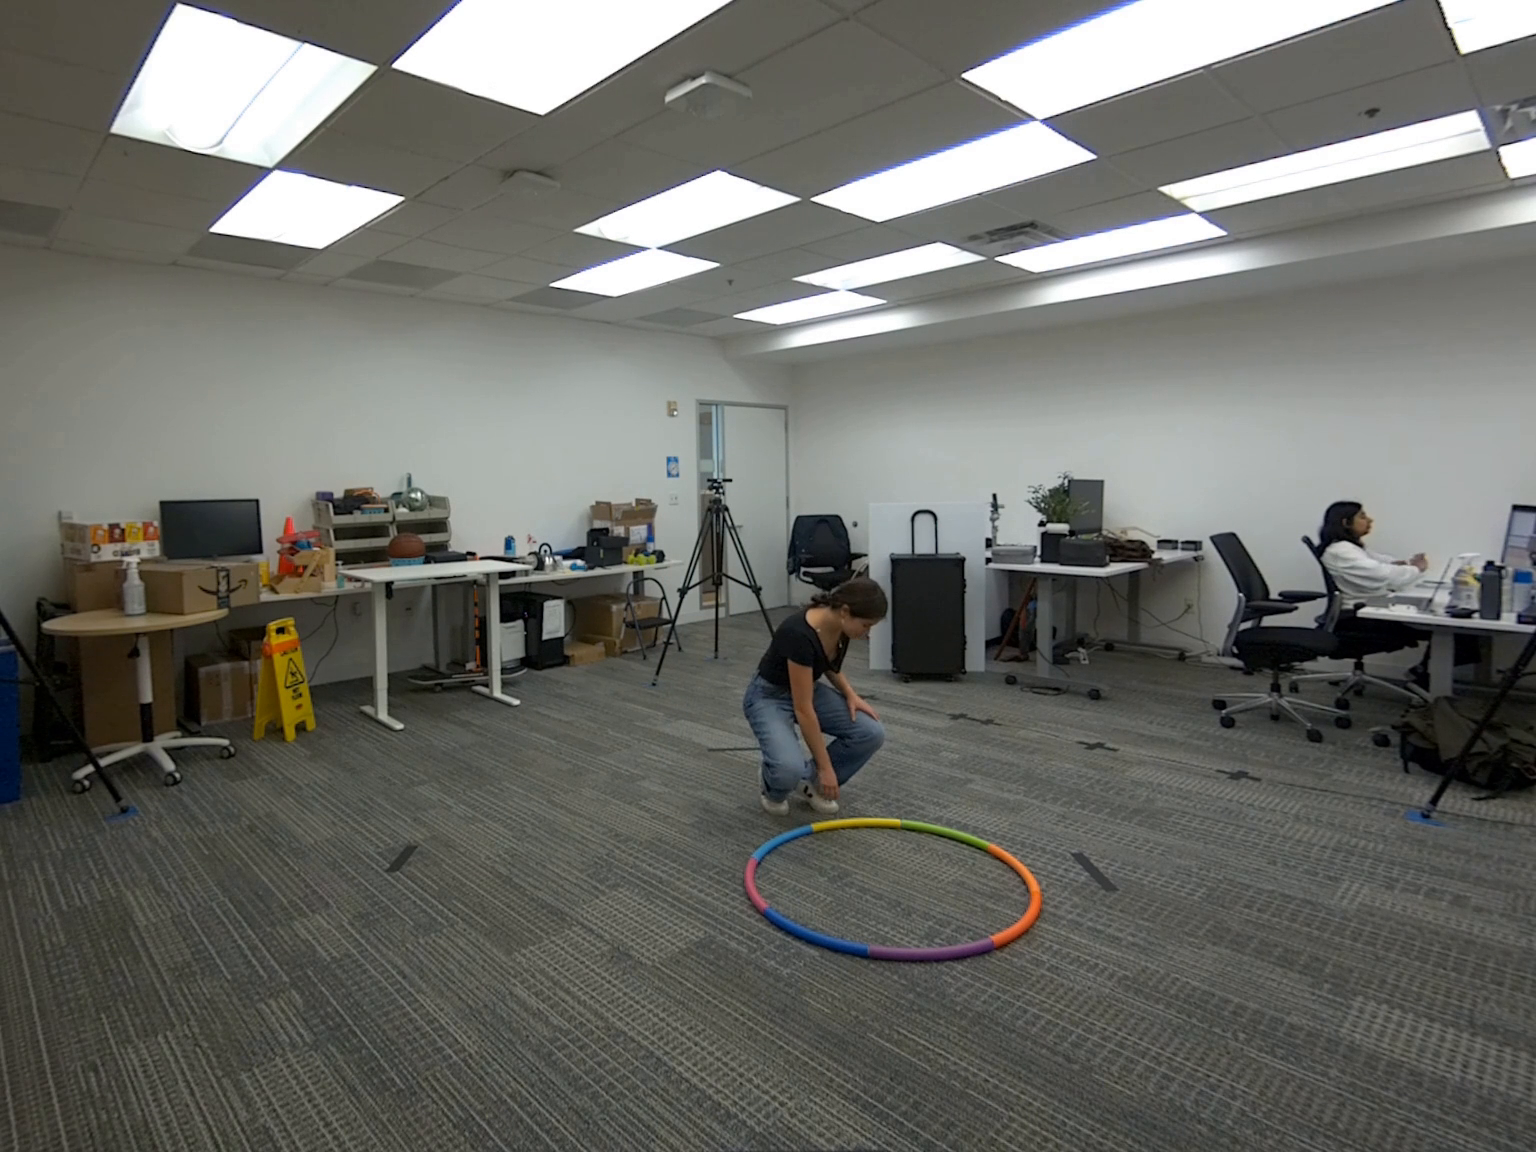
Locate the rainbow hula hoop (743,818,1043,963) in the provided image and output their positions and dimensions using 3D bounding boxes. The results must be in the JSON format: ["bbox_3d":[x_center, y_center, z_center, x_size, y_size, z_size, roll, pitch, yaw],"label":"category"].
[{"bbox_3d":[0.409,1.028,2.948,0.978,0.035,0.984,-1,7,-2],"label":"rainbow hula hoop"}]
